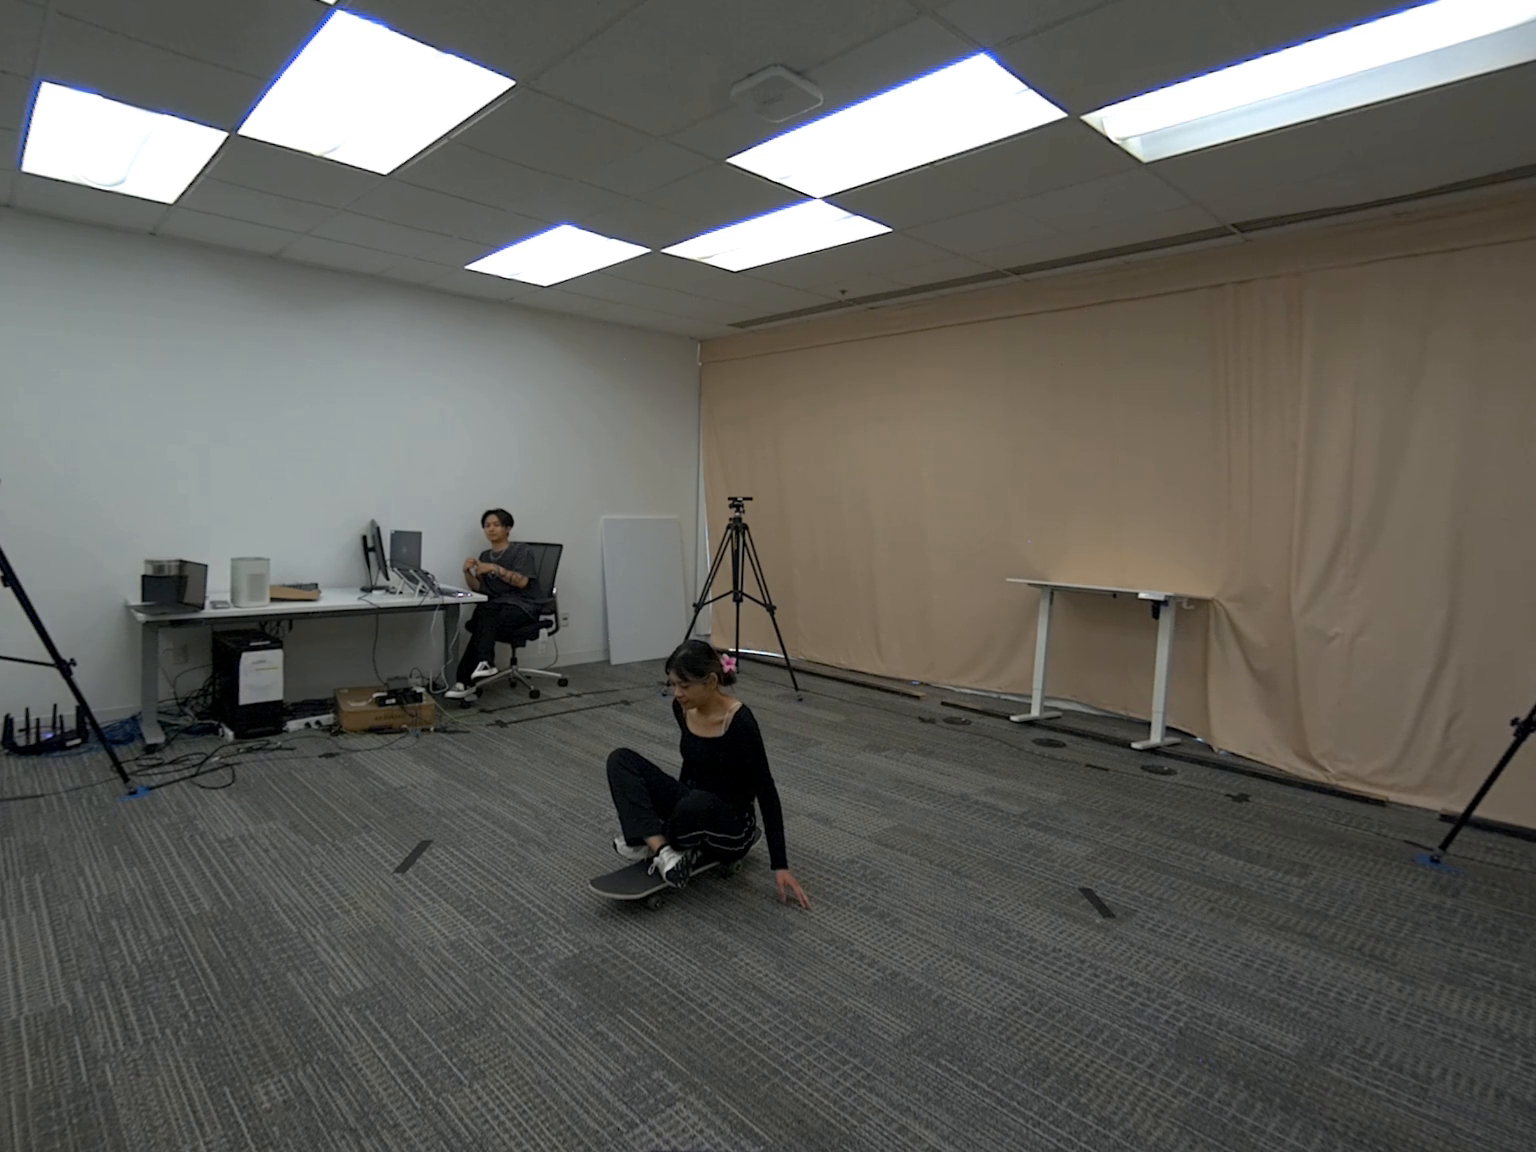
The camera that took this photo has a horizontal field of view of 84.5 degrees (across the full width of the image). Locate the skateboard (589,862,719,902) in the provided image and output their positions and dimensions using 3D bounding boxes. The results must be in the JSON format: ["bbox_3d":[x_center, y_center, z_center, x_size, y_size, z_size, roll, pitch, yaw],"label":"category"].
[{"bbox_3d":[-0.319,1.050,3.022,0.198,0.110,0.767,5,4,40],"label":"skateboard"}]
